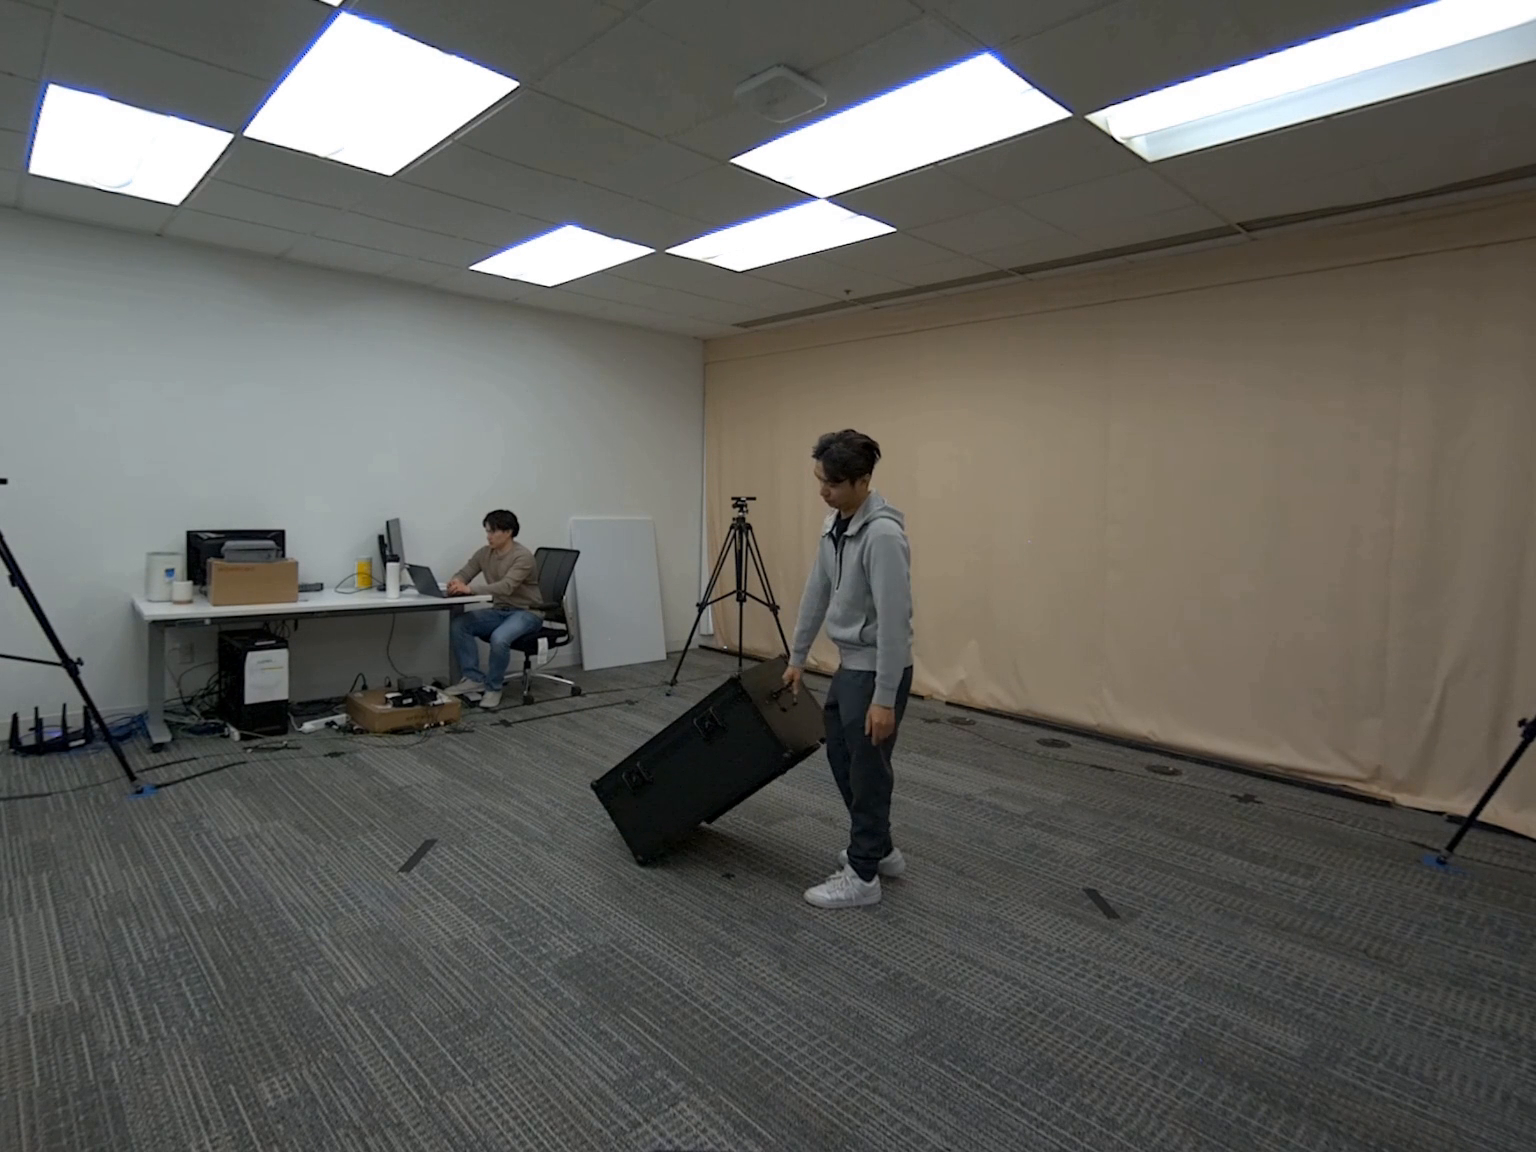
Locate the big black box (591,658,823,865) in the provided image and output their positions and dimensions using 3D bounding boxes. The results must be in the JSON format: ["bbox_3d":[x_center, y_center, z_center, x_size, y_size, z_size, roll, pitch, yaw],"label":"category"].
[{"bbox_3d":[-0.230,0.728,3.295,0.864,0.401,0.513,-38,-12,21],"label":"big black box"}]
